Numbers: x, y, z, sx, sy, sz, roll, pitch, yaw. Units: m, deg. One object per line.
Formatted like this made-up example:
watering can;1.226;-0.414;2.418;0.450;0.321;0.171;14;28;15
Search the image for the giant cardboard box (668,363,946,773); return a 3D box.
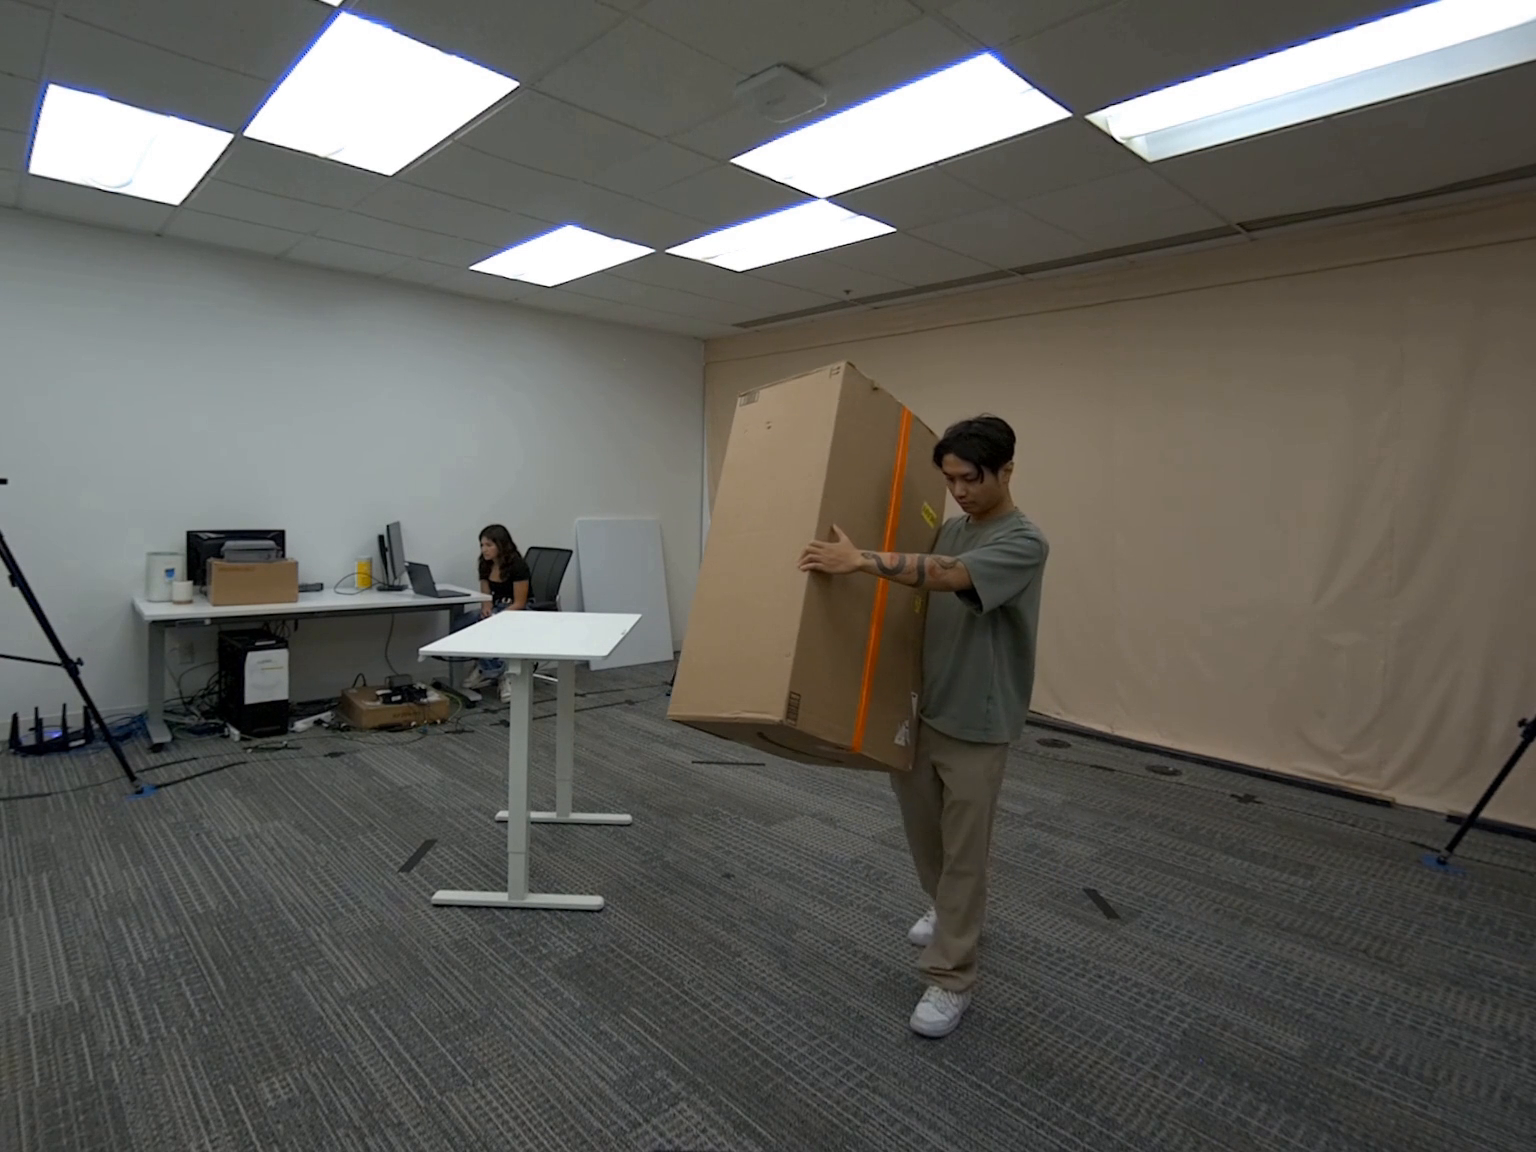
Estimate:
giant cardboard box;0.151;0.001;2.468;0.435;1.037;0.560;-8;-27;42
